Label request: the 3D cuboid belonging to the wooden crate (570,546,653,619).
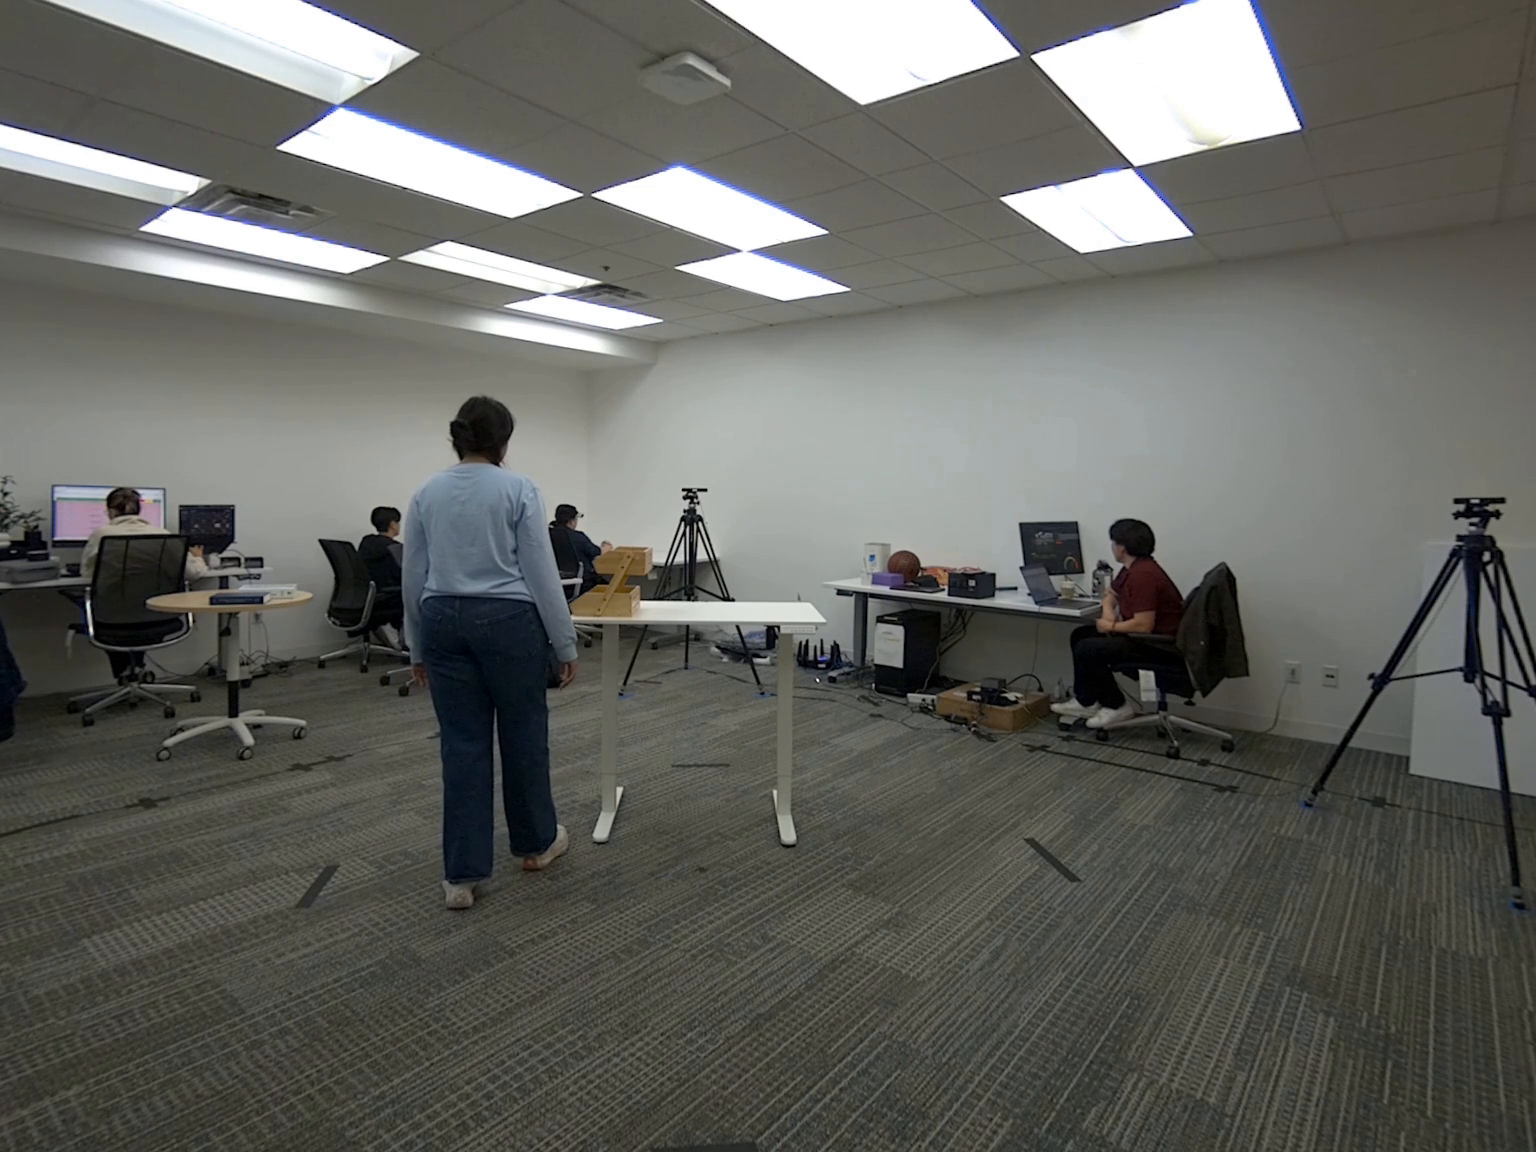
[{"bbox_3d":[-0.664,0.013,3.505,0.302,0.273,0.325,1,4,-1],"label":"wooden crate"}]
